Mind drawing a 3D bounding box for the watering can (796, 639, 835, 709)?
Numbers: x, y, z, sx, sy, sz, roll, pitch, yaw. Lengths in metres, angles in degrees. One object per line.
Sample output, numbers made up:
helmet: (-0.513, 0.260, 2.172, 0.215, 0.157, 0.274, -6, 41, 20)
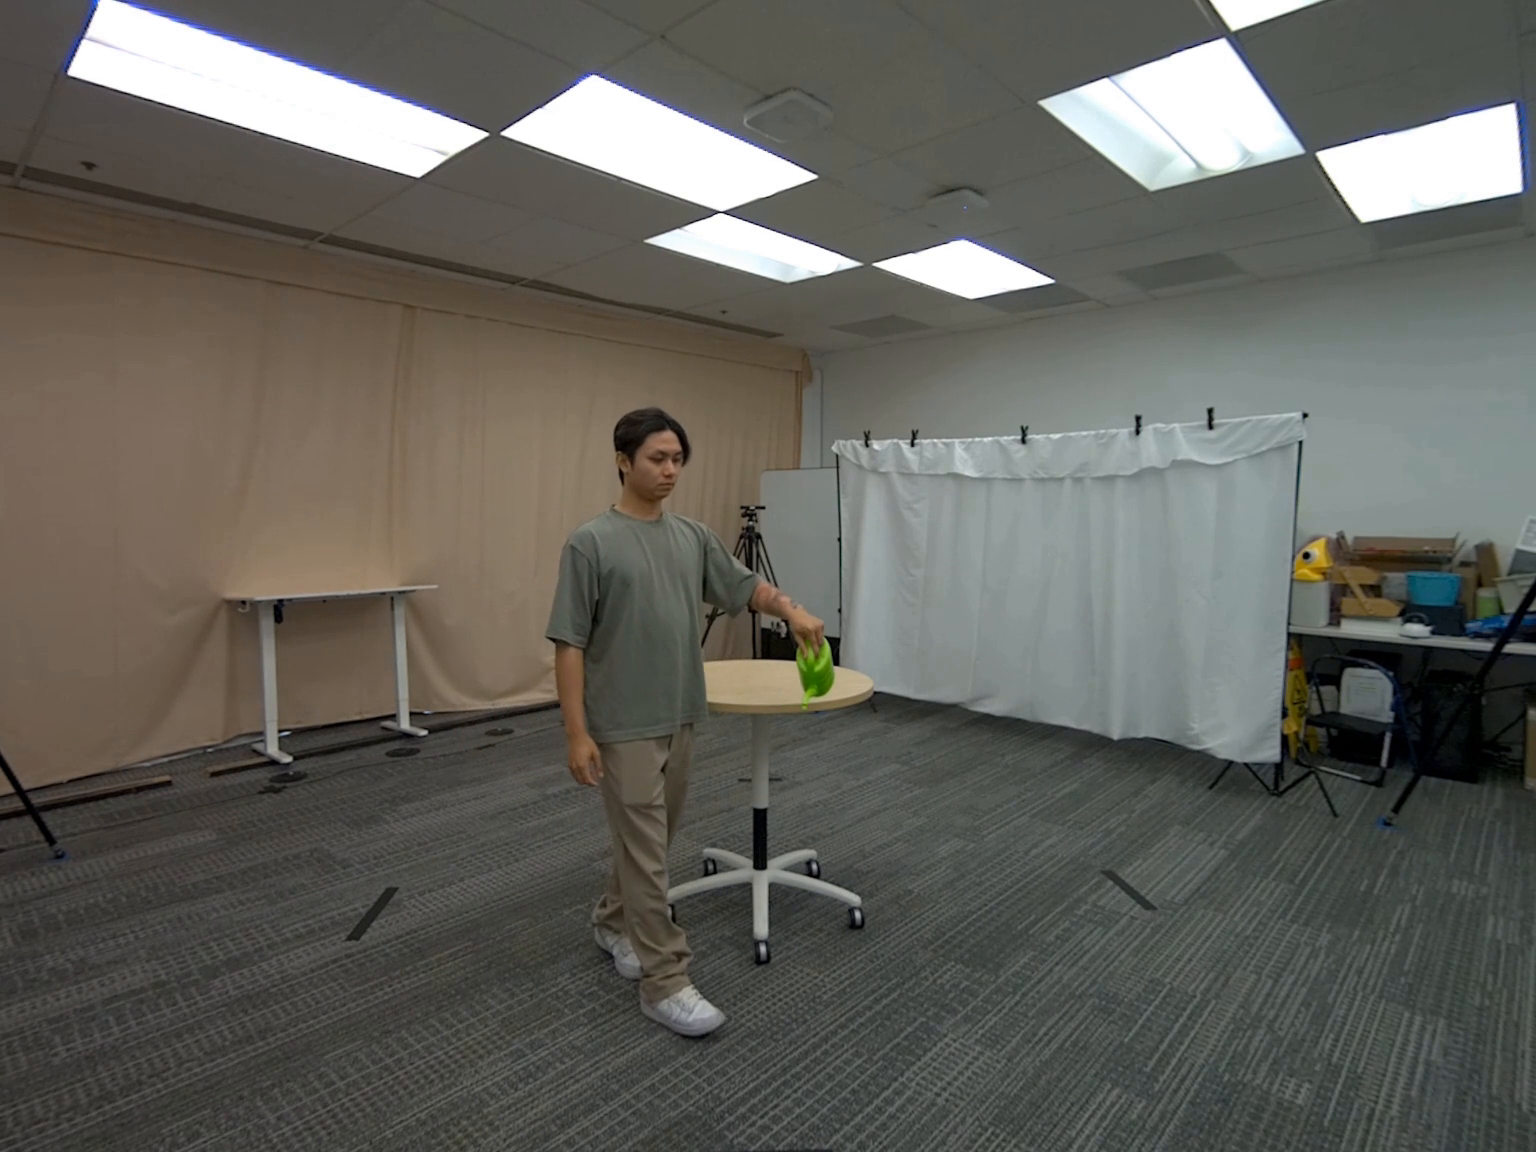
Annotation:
watering can: (0.122, 0.271, 2.297, 0.100, 0.279, 0.172, 10, -36, 21)
